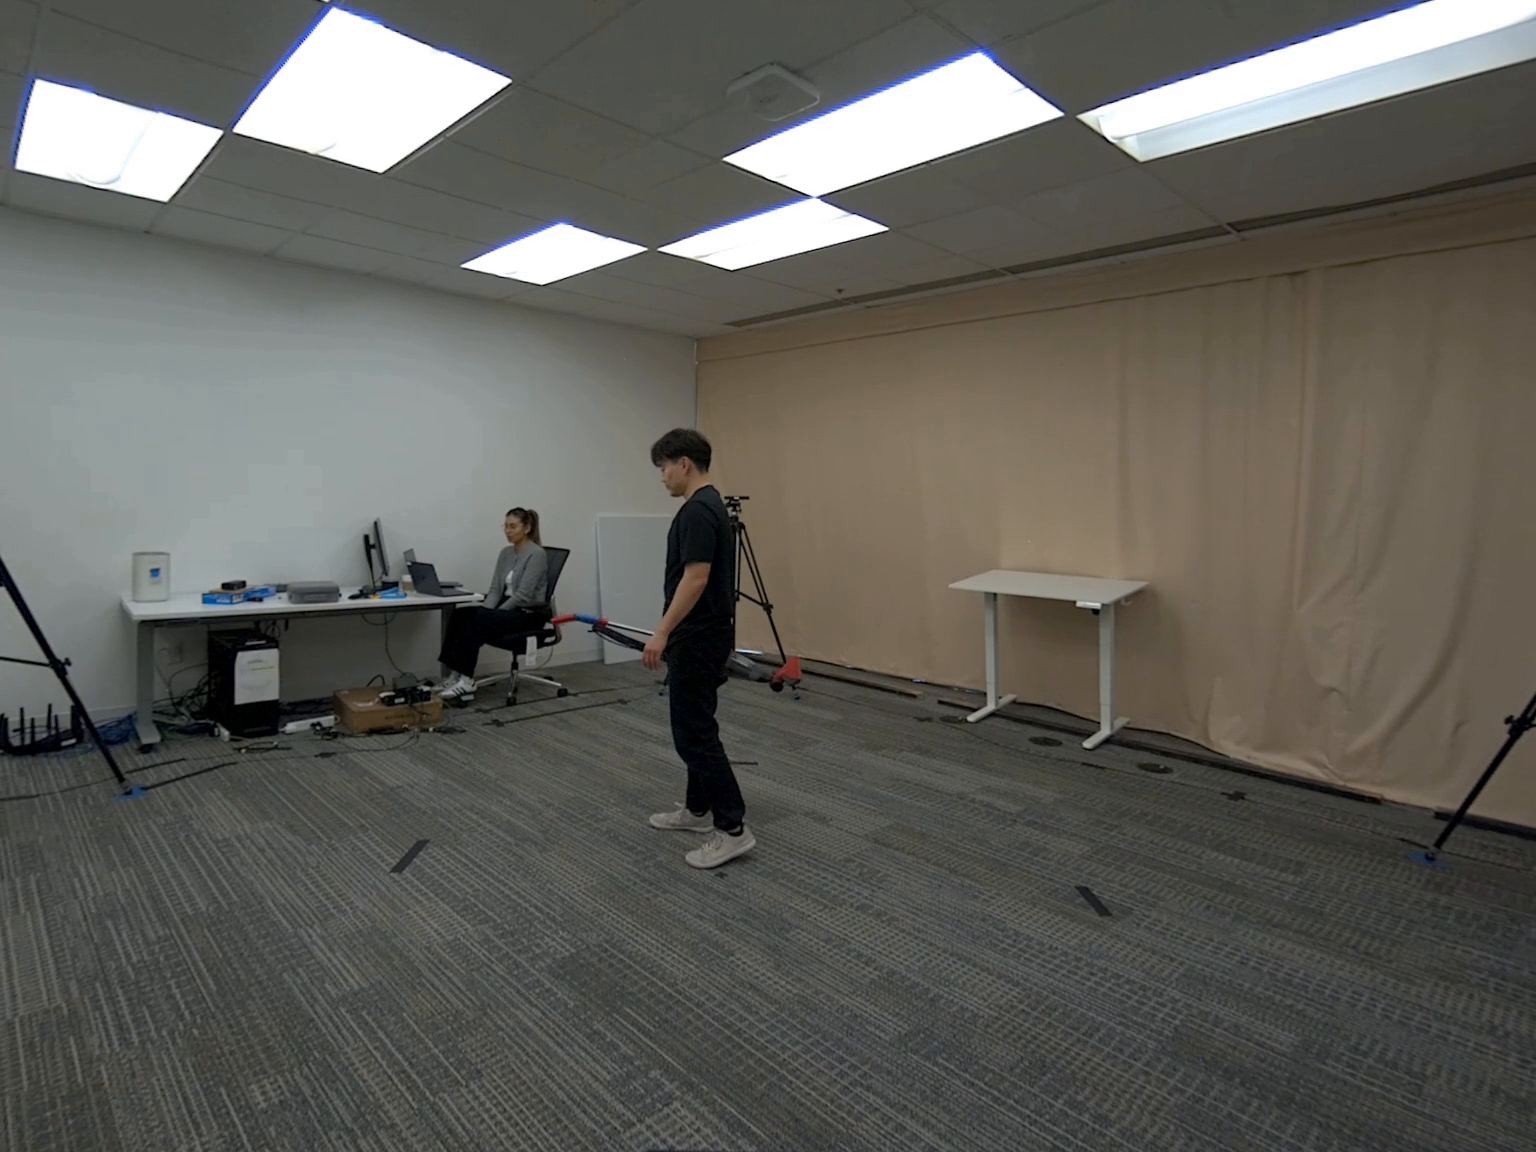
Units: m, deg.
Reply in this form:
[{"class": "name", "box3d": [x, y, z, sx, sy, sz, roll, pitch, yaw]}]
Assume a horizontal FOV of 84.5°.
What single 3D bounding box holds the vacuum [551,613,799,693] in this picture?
[{"class": "vacuum", "box3d": [-0.437, 0.313, 3.665, 1.044, 0.143, 0.256, 15, 17, -5]}]
